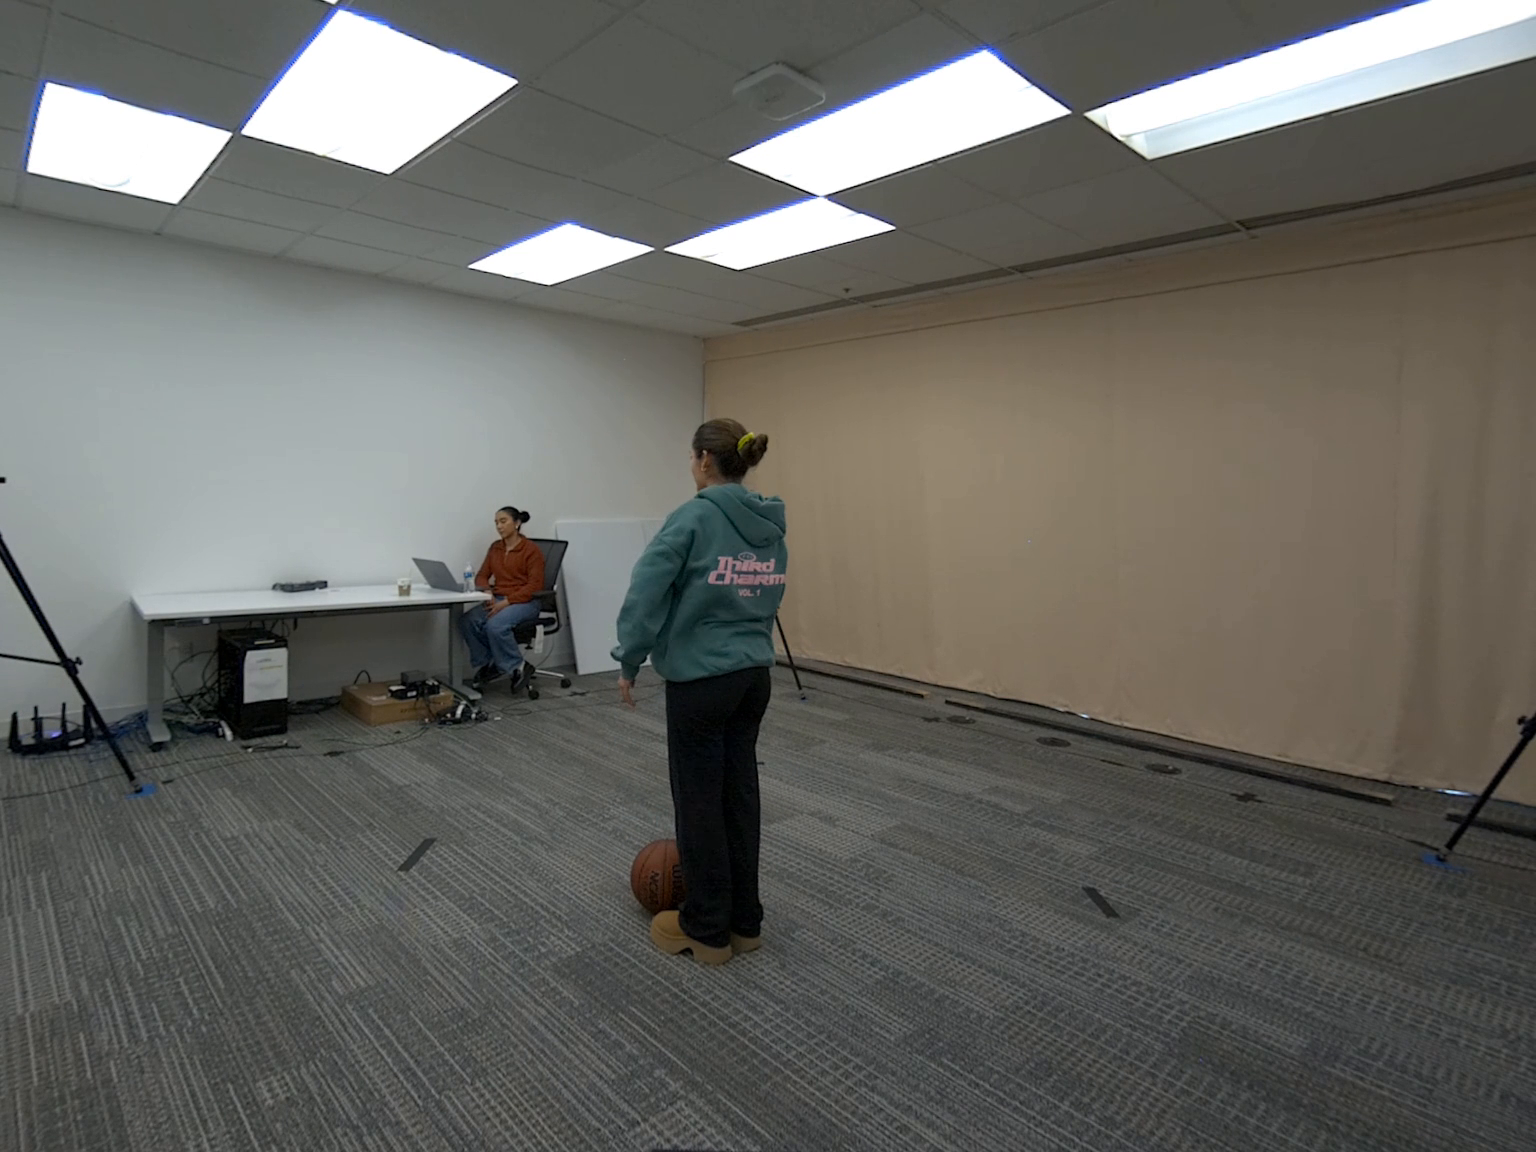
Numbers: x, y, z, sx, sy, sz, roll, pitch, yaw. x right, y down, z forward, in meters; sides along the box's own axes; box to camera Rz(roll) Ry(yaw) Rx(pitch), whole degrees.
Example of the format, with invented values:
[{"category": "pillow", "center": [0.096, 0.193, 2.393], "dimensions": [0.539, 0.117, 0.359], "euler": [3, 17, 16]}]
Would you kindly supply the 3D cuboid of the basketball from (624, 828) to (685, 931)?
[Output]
[{"category": "basketball", "center": [-0.345, 1.005, 2.819], "dimensions": [0.236, 0.235, 0.237], "euler": [1, 4, -1]}]
